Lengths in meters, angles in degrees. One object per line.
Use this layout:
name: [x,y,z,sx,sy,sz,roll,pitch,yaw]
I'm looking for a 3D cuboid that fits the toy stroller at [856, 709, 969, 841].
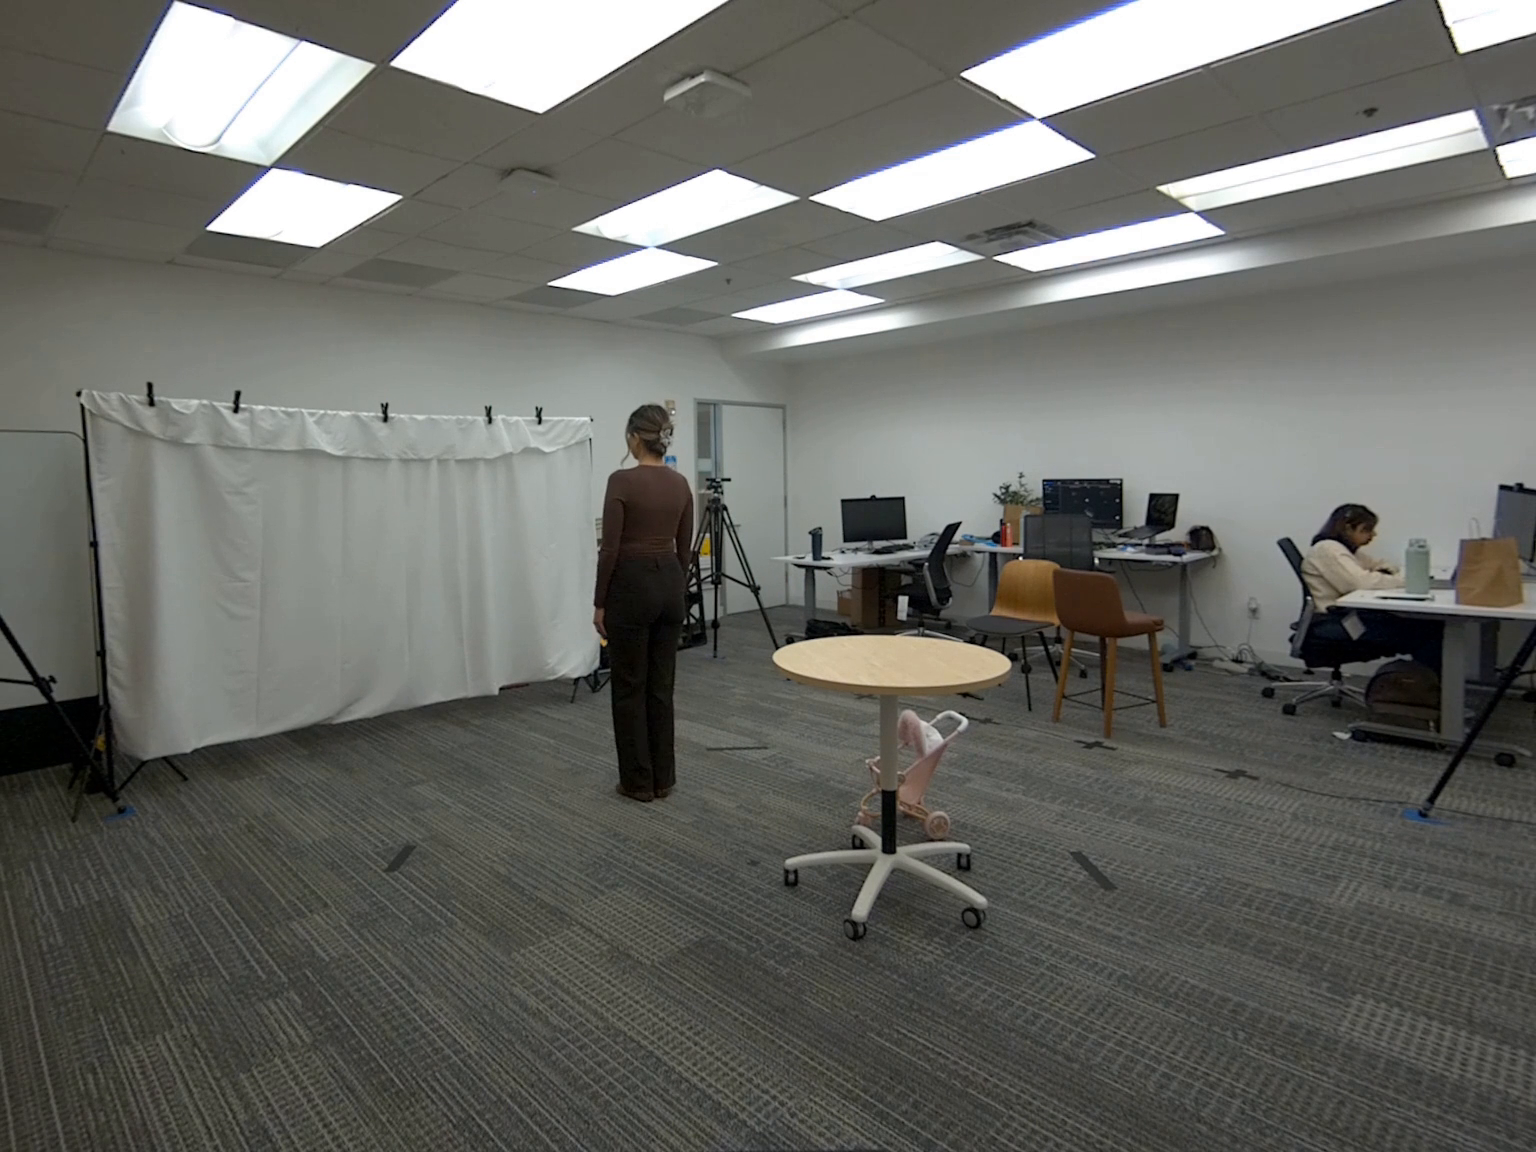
toy stroller: [0.553,0.774,3.378,0.338,0.534,0.284,13,1,-9]
